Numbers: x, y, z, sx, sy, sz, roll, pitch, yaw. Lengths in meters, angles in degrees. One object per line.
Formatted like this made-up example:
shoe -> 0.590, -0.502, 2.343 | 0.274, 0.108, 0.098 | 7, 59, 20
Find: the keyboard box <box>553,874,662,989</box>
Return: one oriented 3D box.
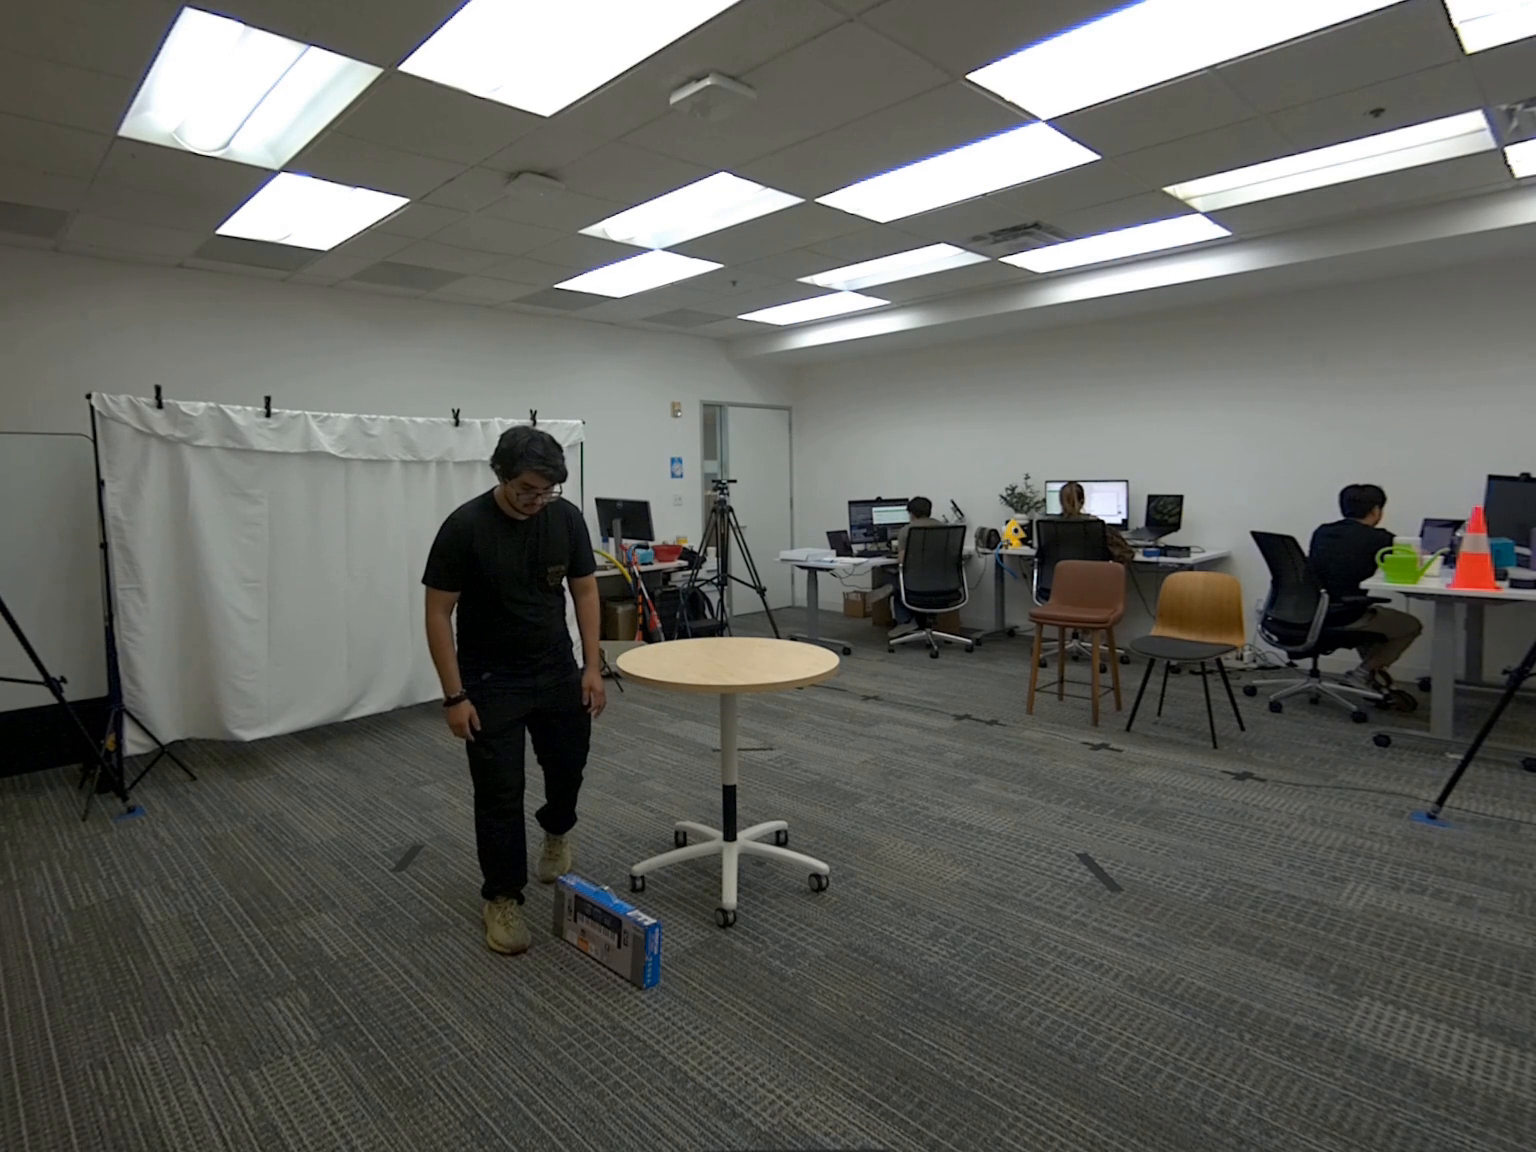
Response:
keyboard box -> -0.479, 1.041, 2.520 | 0.450, 0.176, 0.057 | 5, 2, 43
